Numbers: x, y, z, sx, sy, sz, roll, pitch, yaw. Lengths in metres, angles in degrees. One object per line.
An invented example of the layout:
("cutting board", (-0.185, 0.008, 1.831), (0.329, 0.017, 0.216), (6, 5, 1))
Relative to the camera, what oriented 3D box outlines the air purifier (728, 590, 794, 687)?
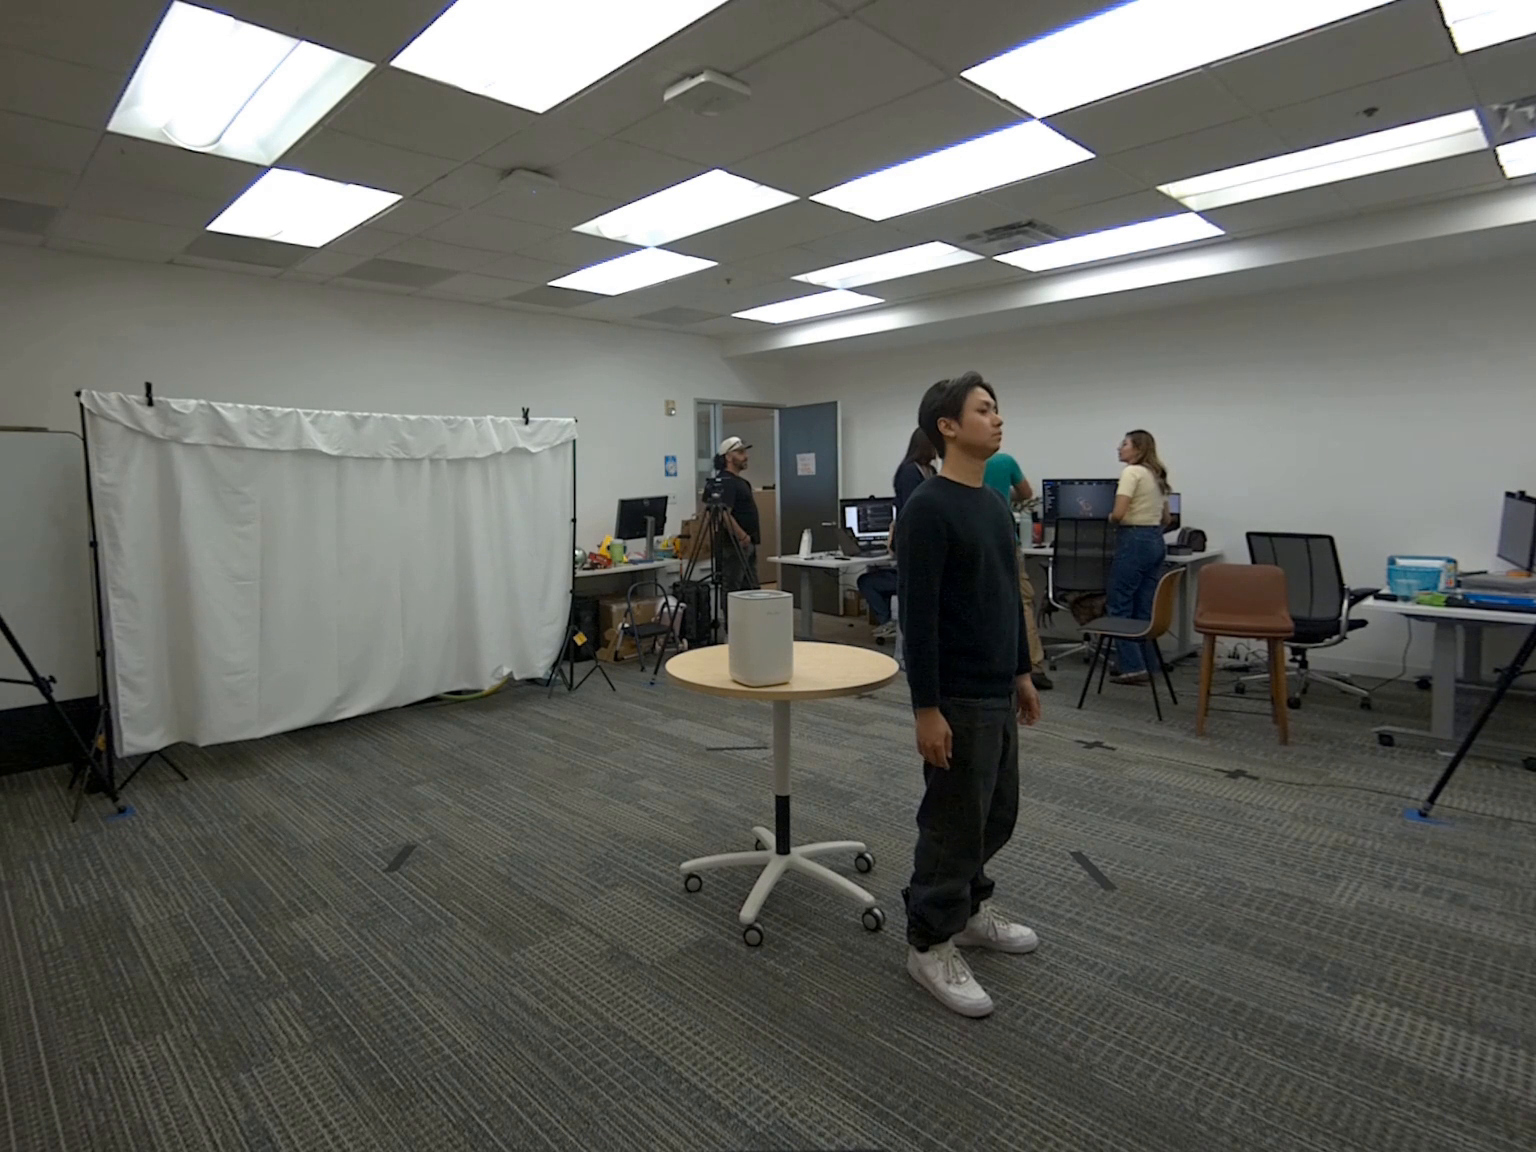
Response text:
("air purifier", (-0.016, 0.186, 2.569), (0.168, 0.264, 0.176), (-3, 5, -23))
